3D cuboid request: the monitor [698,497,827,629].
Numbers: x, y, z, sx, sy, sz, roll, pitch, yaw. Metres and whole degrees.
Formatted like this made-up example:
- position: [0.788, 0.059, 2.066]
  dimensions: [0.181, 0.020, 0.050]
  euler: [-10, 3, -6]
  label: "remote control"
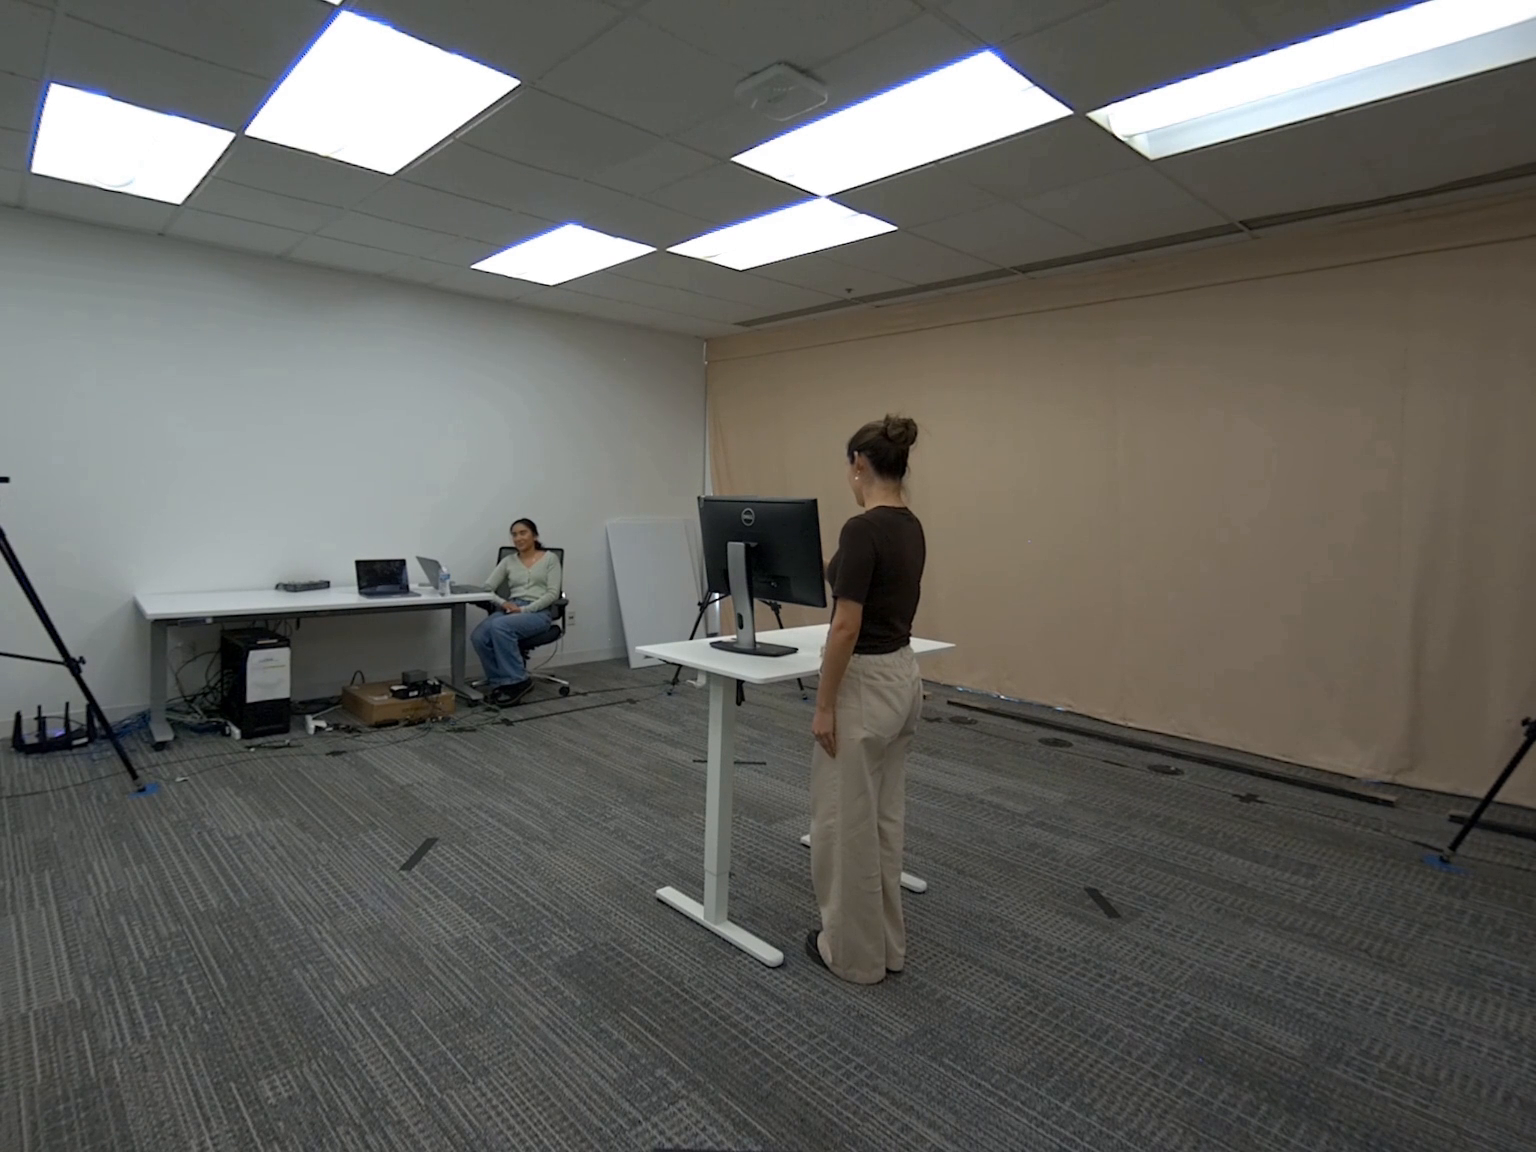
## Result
- position: [-0.056, -0.002, 2.796]
  dimensions: [0.553, 0.521, 0.183]
  euler: [5, 4, 43]
  label: "monitor"
